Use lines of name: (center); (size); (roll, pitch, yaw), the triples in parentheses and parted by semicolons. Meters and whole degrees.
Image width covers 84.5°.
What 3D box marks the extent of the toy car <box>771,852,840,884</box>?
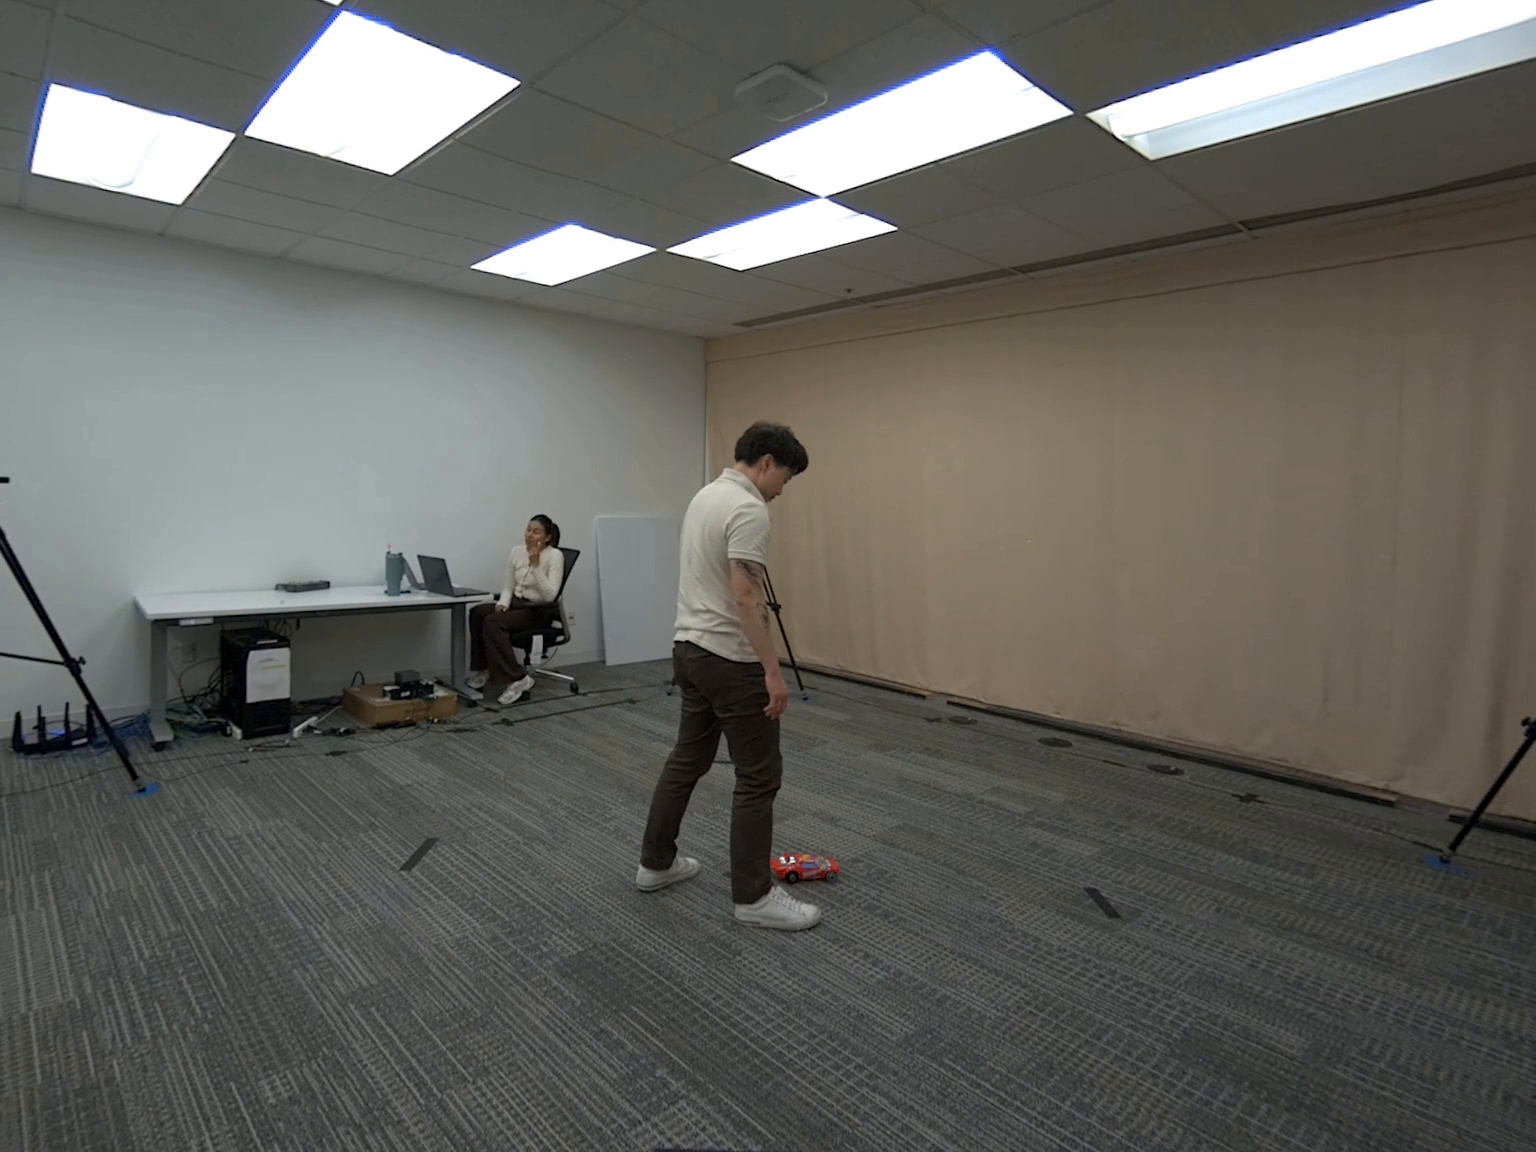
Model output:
toy car: (0.125, 1.076, 3.097); (0.253, 0.083, 0.131); (11, 4, -7)
